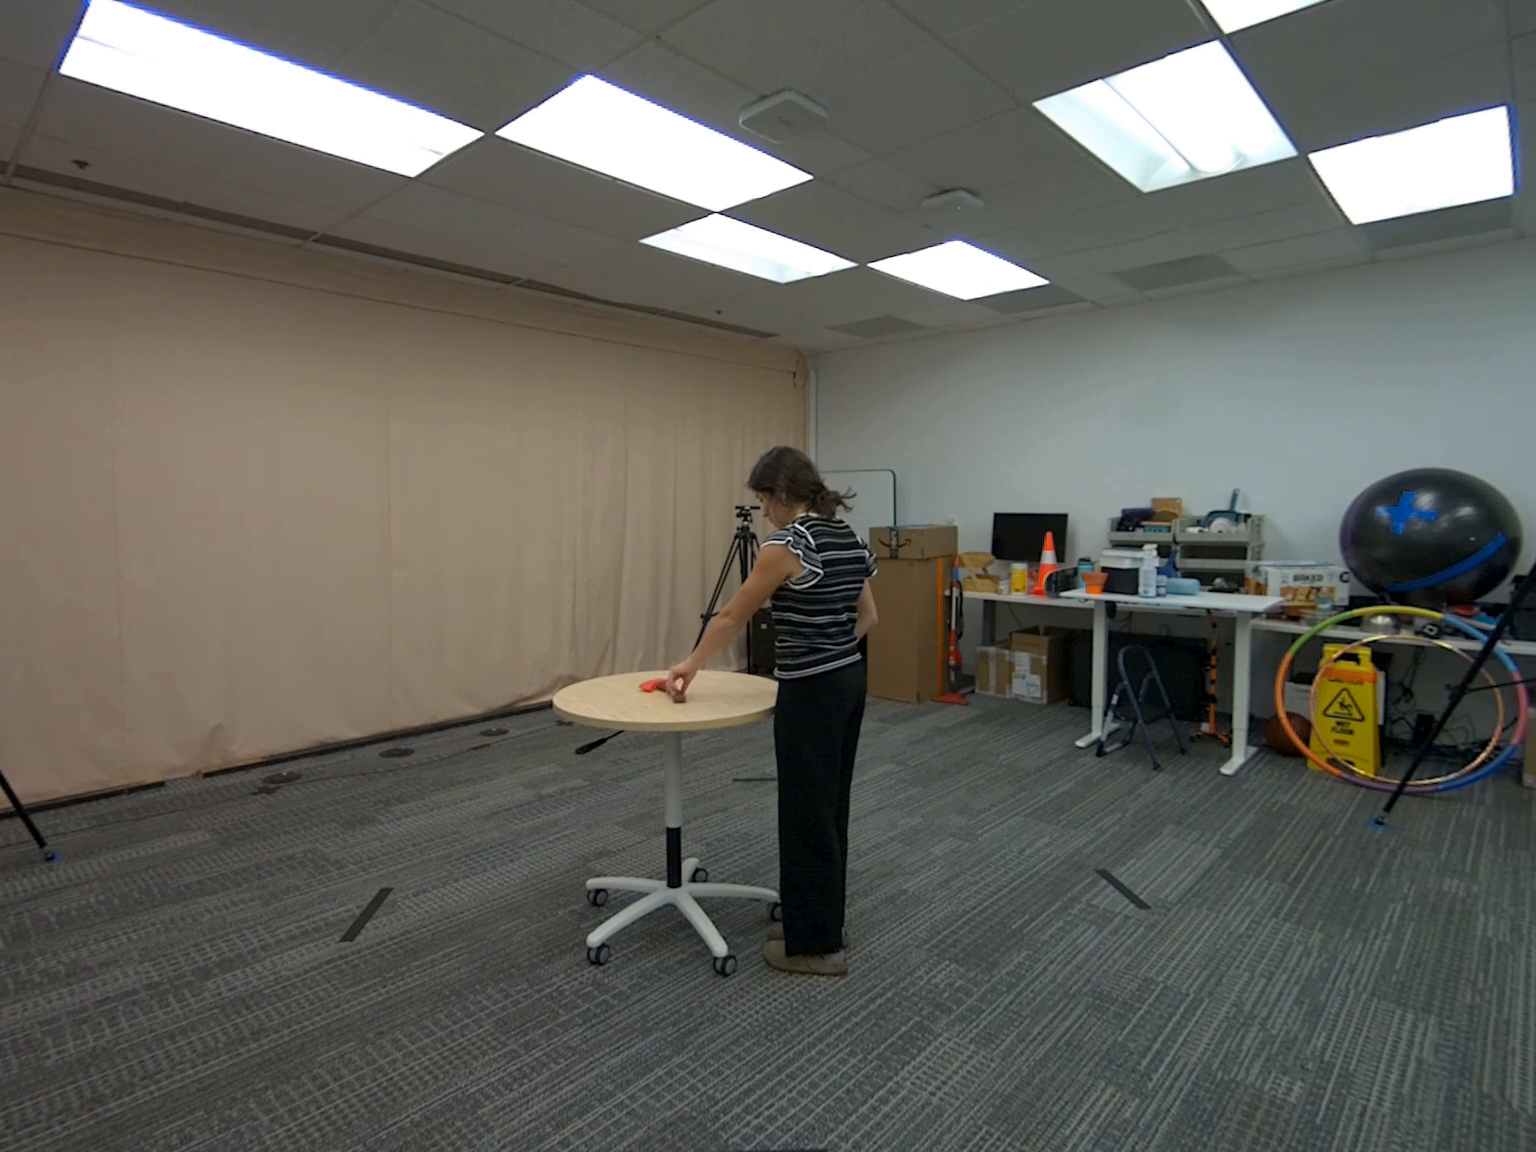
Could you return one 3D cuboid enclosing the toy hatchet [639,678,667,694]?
[{"bbox_3d":[-0.338,0.375,2.709,0.129,0.029,0.274,1,6,-12],"label":"toy hatchet"}]
